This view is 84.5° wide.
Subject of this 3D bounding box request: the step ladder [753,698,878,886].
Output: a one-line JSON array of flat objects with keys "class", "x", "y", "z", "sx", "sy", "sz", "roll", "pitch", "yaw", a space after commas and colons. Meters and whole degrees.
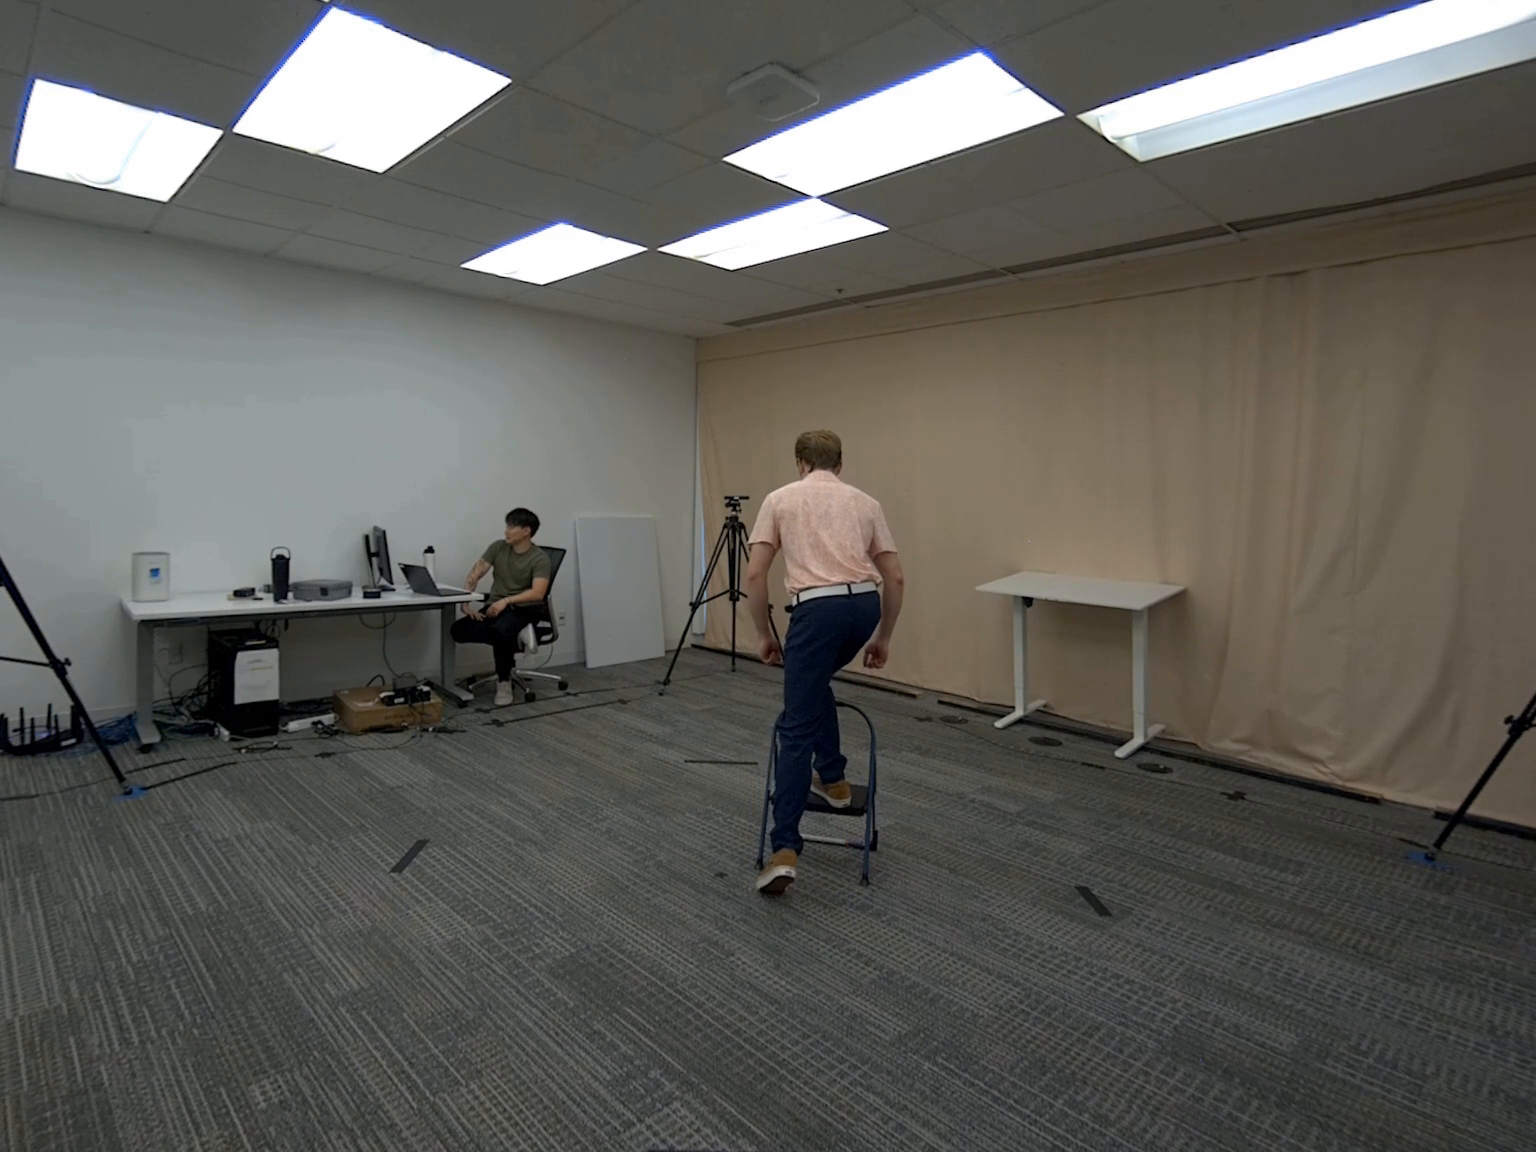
[{"class": "step ladder", "x": 0.203, "y": 0.799, "z": 3.255, "sx": 0.436, "sy": 0.605, "sz": 0.345, "roll": 3, "pitch": 3, "yaw": 15}]
